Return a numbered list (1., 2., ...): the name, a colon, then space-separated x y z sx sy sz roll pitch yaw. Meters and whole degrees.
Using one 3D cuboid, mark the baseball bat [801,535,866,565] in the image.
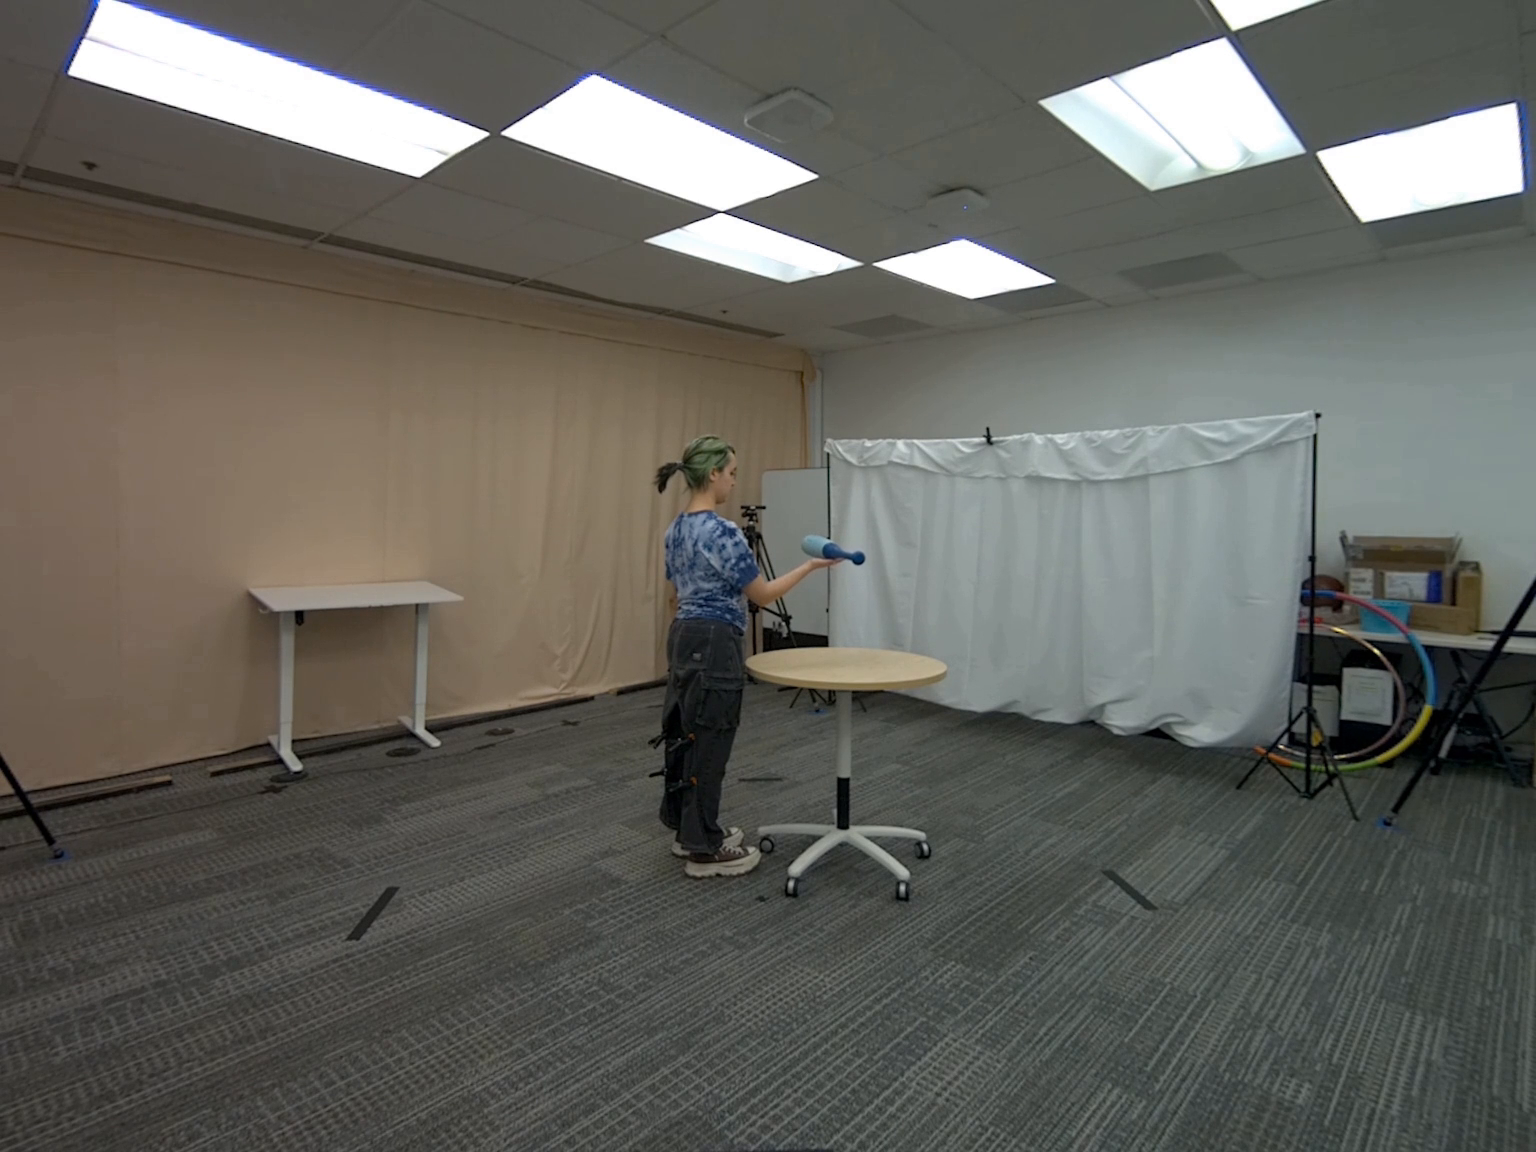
1. baseball bat: 0.253 -0.092 3.243 0.088 0.088 0.553 -1 8 -15
